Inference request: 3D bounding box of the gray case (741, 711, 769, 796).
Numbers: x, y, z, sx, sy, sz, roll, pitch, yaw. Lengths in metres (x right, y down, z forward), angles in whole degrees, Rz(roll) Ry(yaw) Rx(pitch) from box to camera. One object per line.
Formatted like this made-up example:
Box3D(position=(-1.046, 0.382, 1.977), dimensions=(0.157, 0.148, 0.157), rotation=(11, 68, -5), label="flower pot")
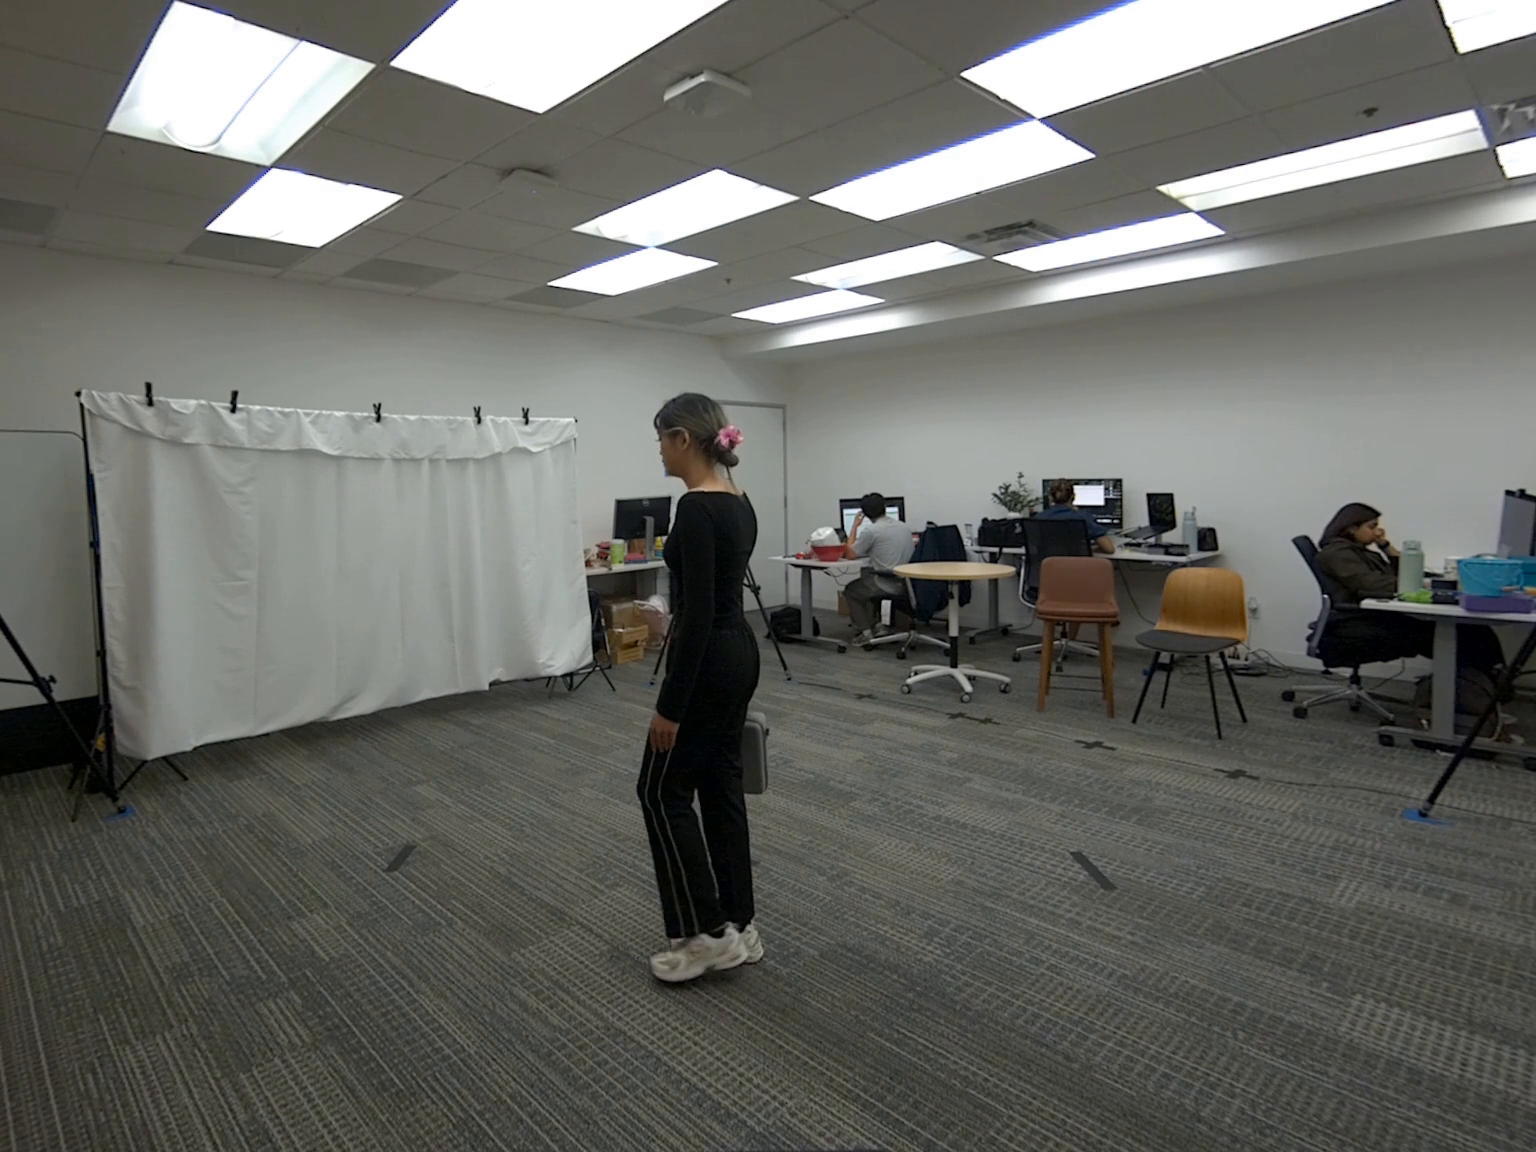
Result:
Box3D(position=(-0.122, 0.556, 2.739), dimensions=(0.260, 0.258, 0.104), rotation=(1, 11, 14), label="gray case")
